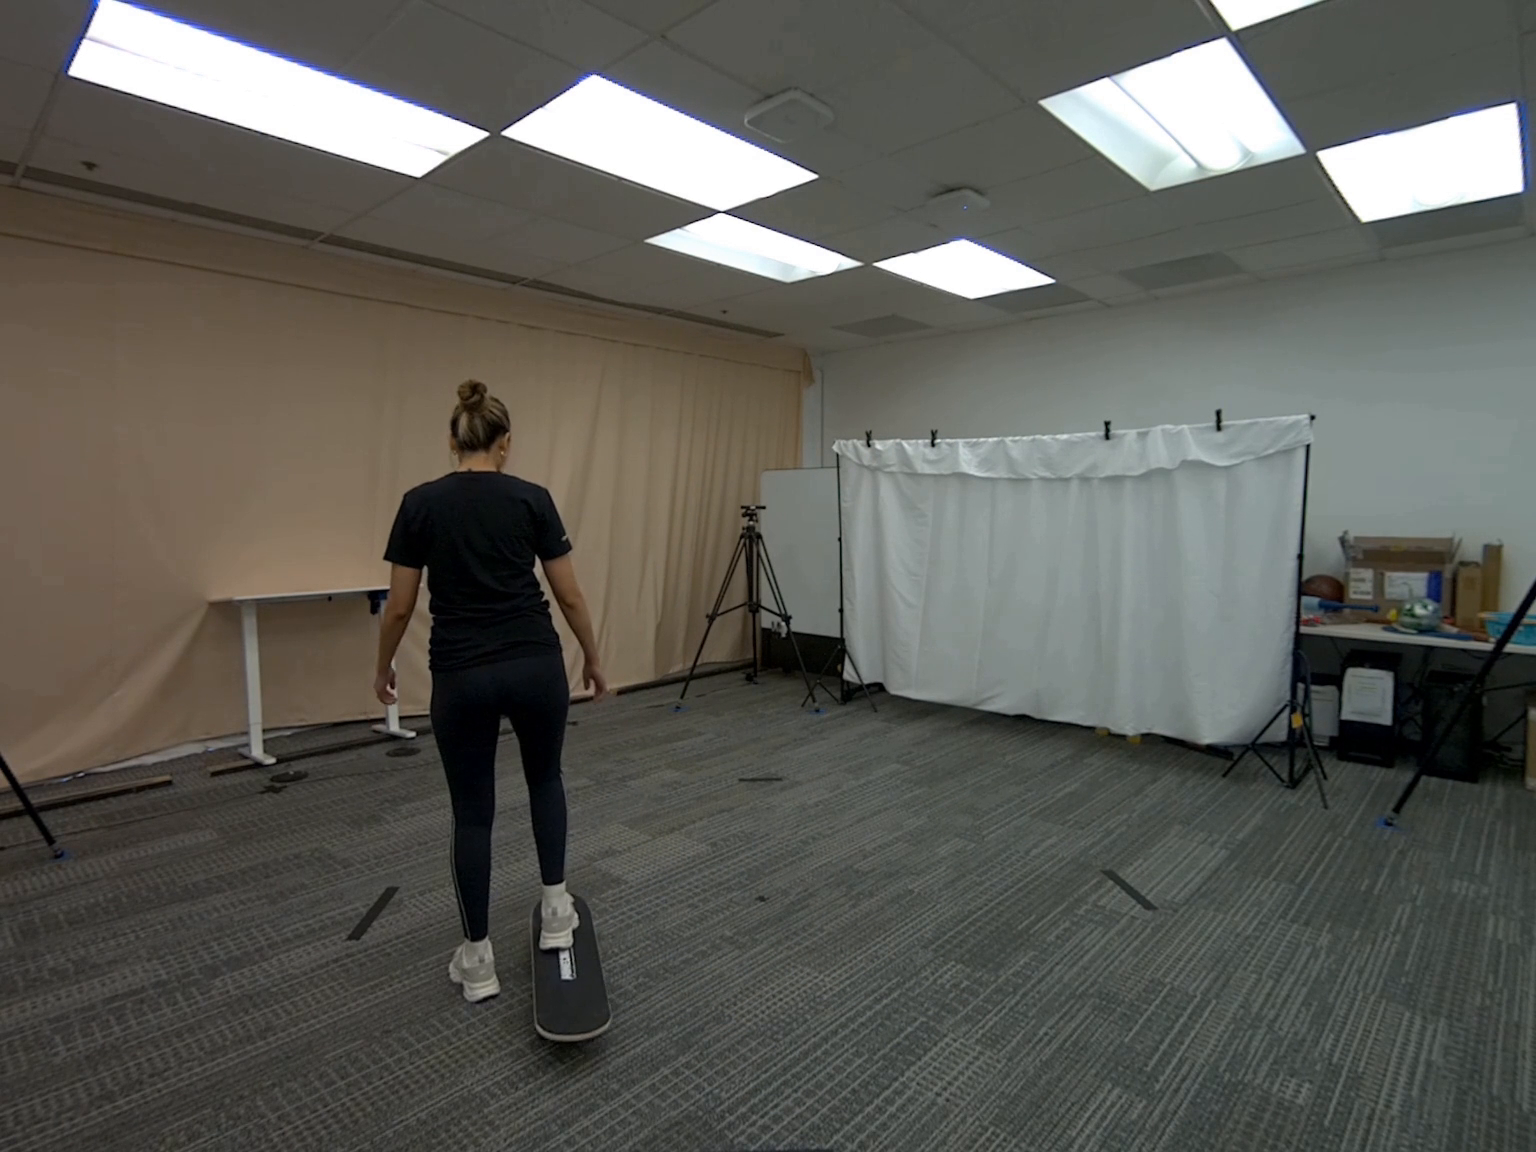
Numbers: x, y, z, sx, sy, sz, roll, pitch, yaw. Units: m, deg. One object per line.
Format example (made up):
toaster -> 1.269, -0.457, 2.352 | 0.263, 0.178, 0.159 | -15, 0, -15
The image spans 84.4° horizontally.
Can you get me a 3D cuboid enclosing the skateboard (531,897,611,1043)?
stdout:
skateboard -> -0.574, 1.138, 2.427 | 0.190, 0.110, 0.800 | 0, 4, -17
